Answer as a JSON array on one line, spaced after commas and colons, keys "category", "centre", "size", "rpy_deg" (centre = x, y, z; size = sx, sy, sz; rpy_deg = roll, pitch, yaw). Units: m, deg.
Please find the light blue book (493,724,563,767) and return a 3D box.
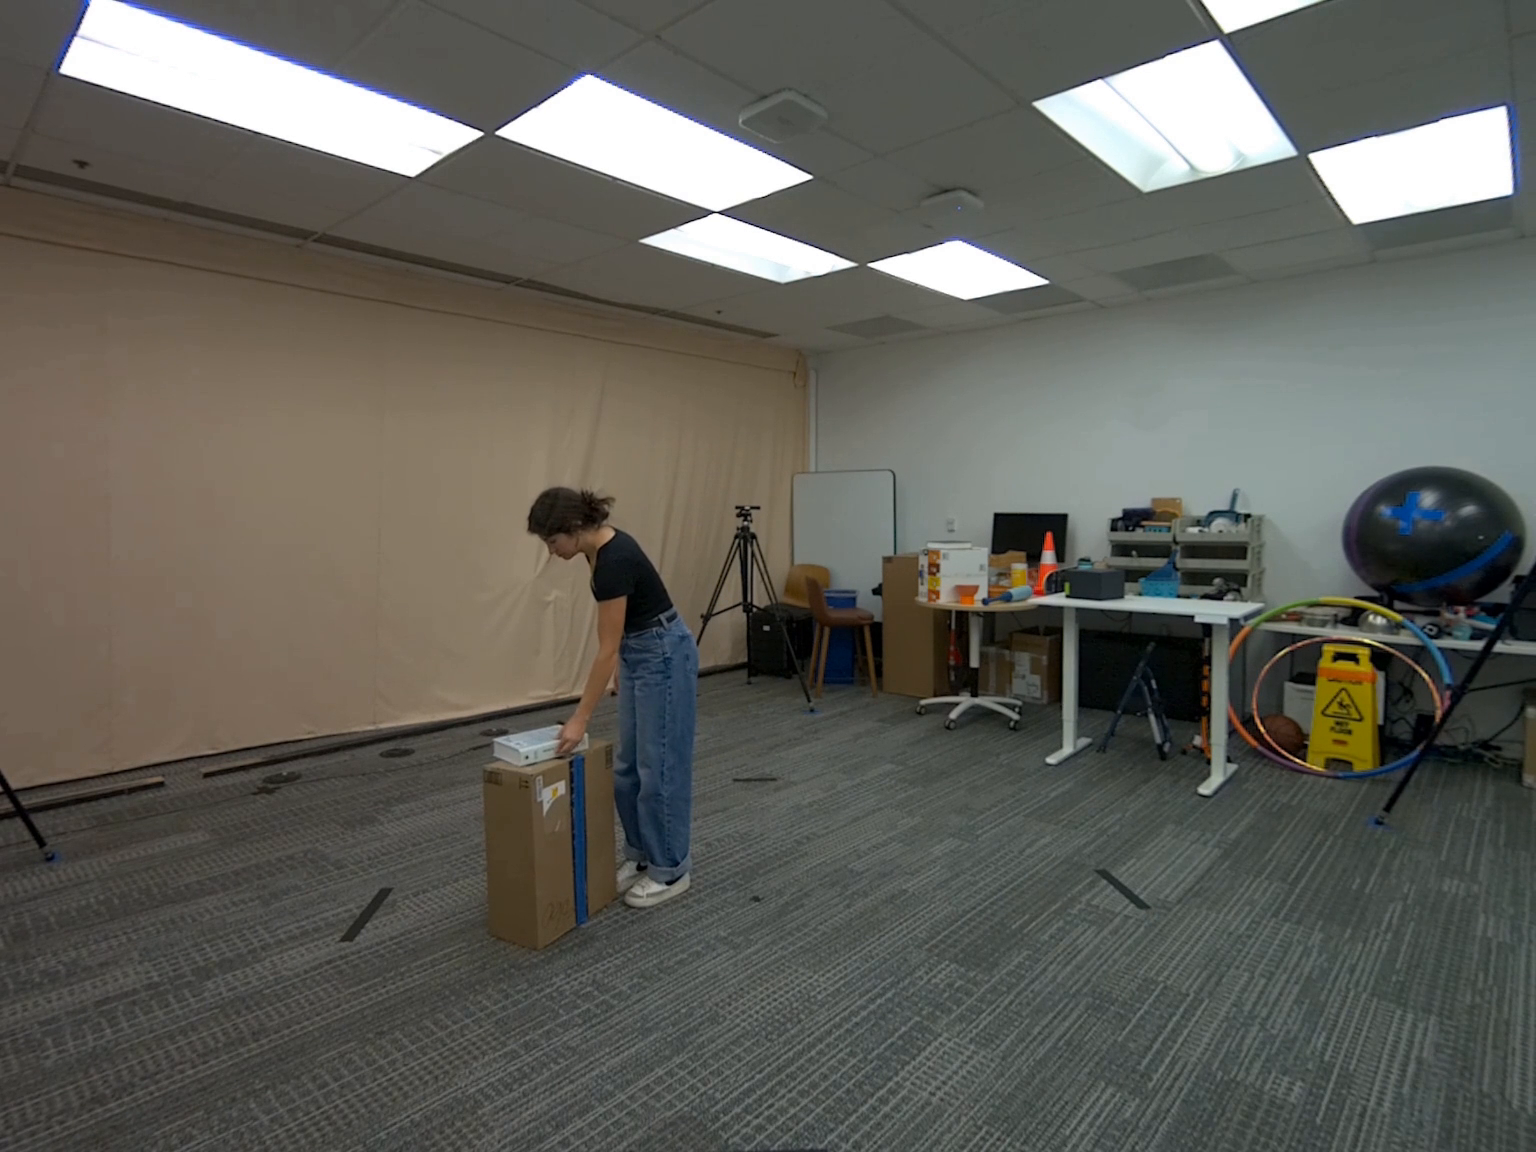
[{"category": "light blue book", "centre": [-0.776, 0.569, 2.849], "size": [0.197, 0.059, 0.253], "rpy_deg": [1, 5, 44]}]
